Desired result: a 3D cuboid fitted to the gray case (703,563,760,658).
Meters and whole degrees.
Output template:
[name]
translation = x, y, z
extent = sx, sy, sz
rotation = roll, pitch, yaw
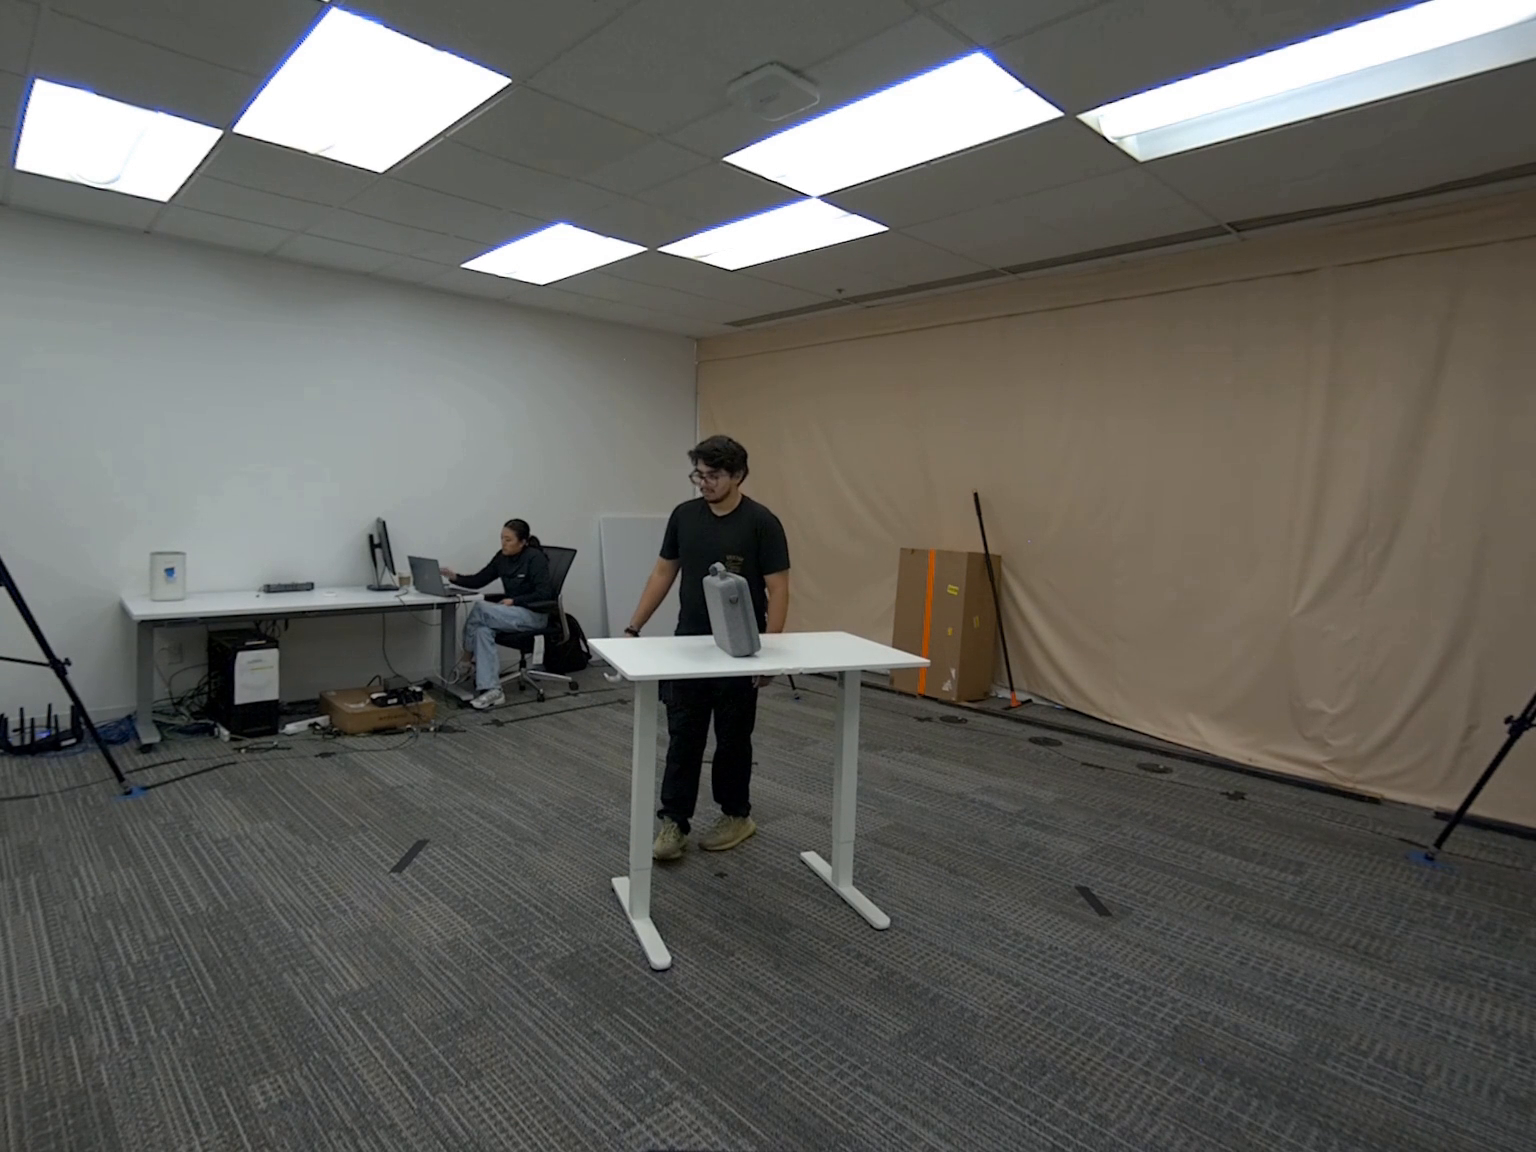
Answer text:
[gray case]
translation = -0.132, 0.117, 2.772
extent = 0.103, 0.259, 0.261
rotation = -8, 8, -14
